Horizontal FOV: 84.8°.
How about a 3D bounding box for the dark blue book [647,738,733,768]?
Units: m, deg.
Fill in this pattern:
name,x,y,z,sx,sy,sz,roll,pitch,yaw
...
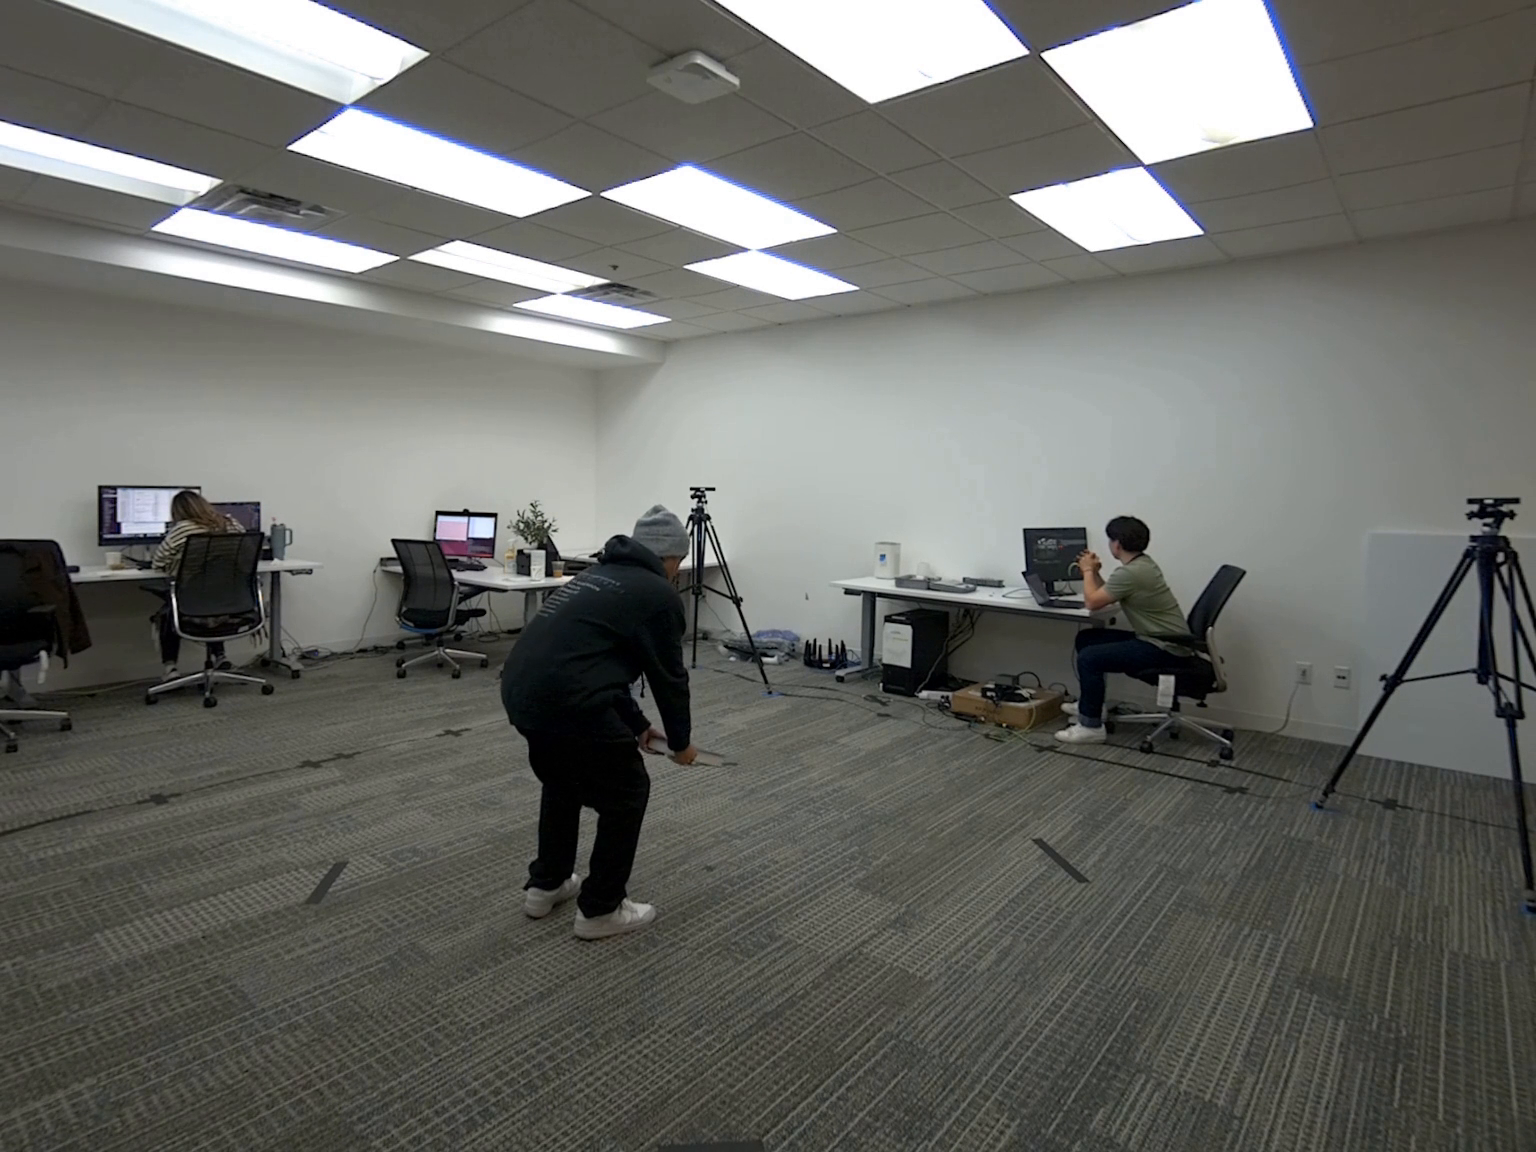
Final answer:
name,x,y,z,sx,sy,sz,roll,pitch,yaw
dark blue book,-0.299,0.633,3.054,0.169,0.045,0.235,8,-10,40
